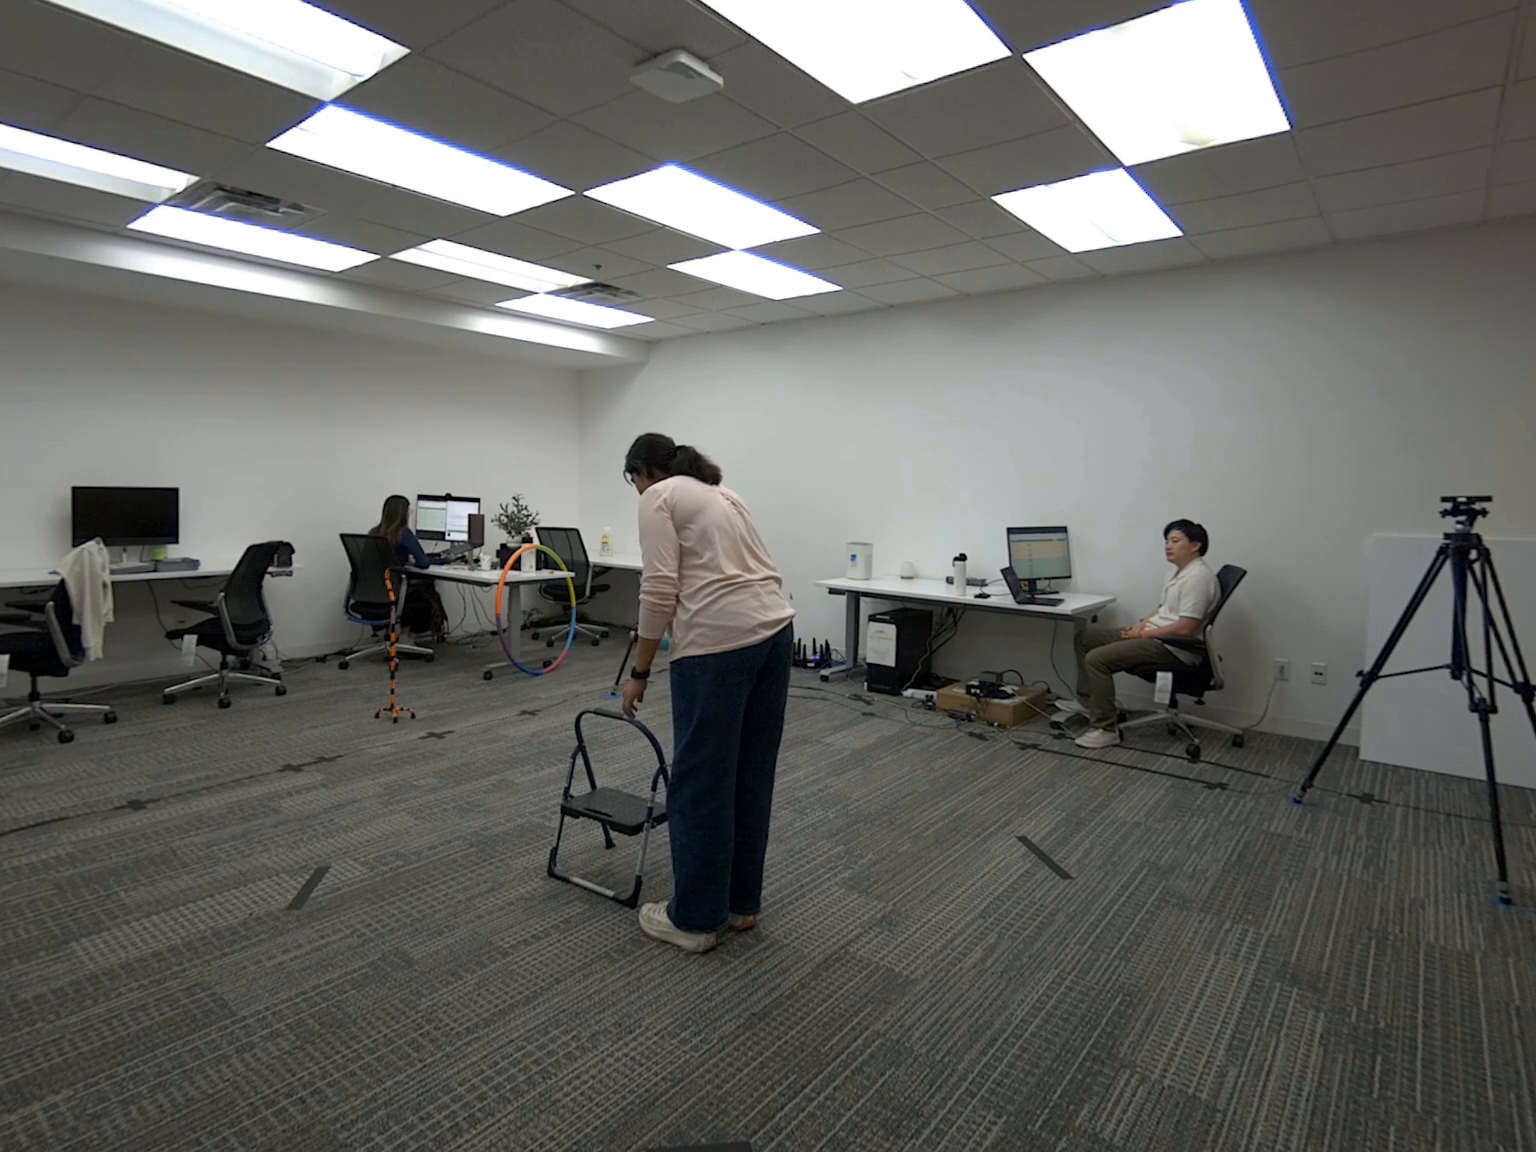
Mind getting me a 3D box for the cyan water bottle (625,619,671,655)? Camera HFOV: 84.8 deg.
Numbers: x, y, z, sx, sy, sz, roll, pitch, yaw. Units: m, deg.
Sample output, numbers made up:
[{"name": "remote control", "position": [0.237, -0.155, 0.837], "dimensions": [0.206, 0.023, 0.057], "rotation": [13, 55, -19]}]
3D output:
[{"name": "cyan water bottle", "position": [-0.374, 0.231, 3.103], "dimensions": [0.284, 0.092, 0.092], "rotation": [8, 4, 1]}]
